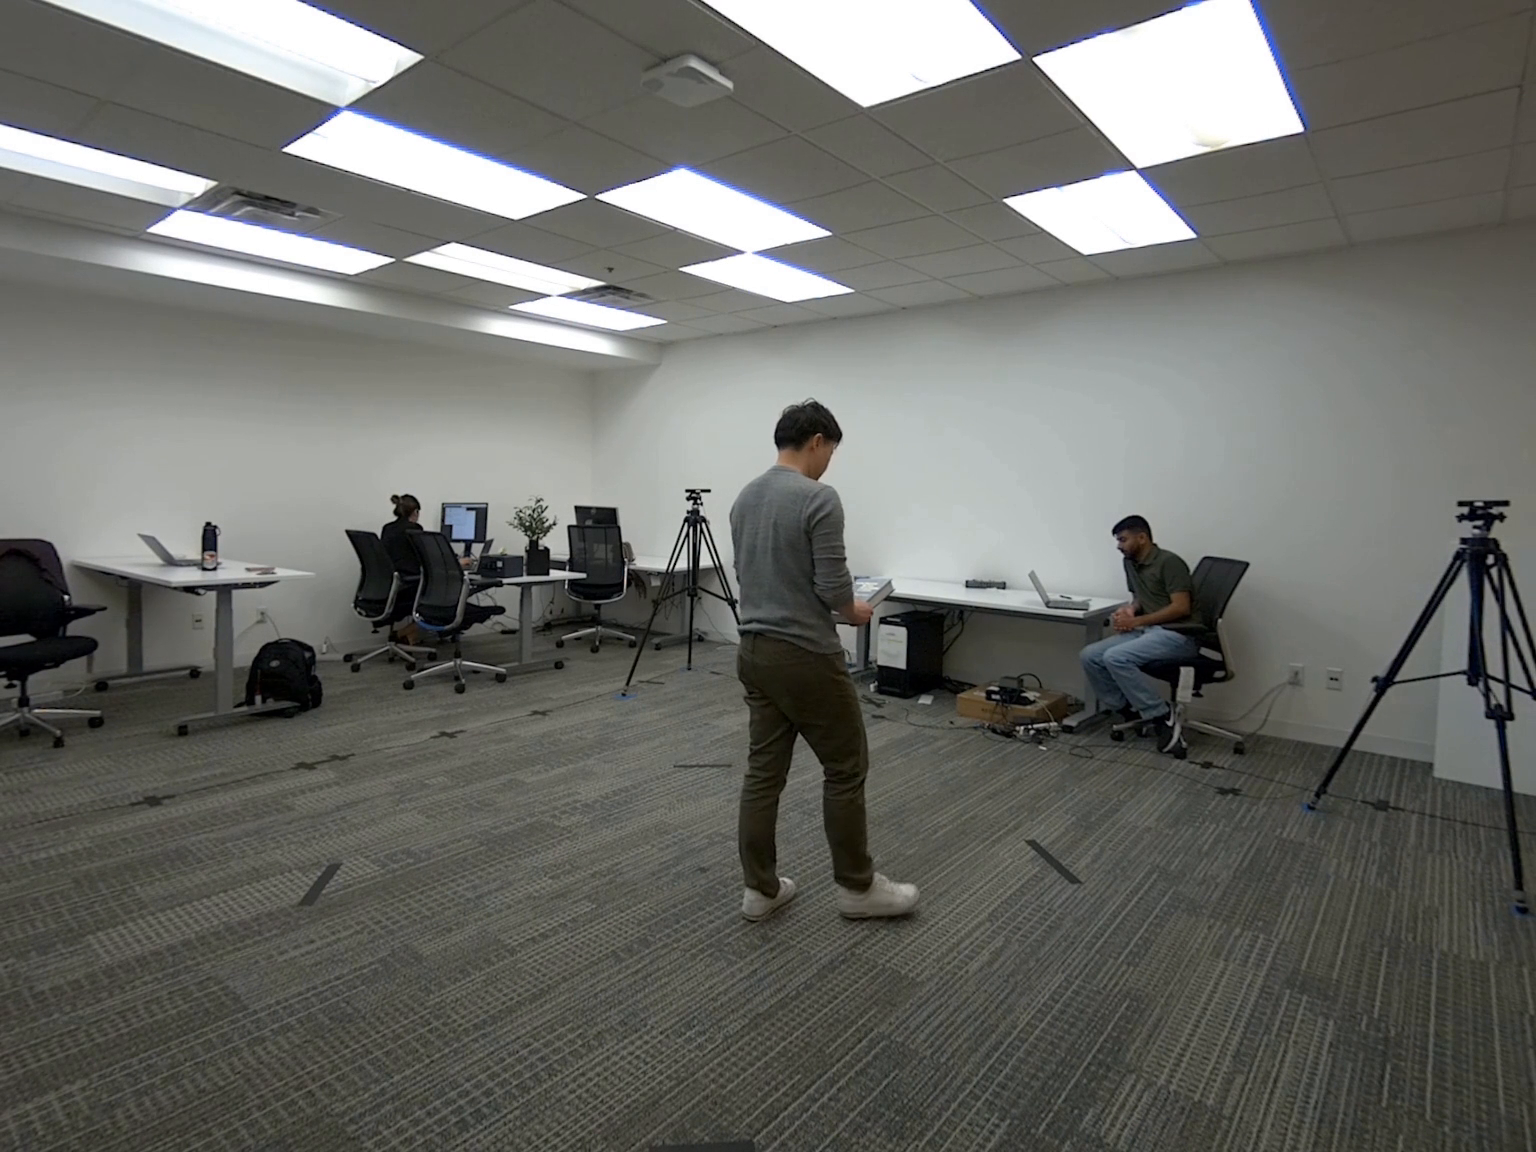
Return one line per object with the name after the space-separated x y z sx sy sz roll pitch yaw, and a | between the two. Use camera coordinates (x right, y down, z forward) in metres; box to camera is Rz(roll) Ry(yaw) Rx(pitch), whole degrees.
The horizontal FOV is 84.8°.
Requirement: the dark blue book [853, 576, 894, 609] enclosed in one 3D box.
0.313 0.078 3.002 0.168 0.044 0.242 0 24 40 | dark blue book
